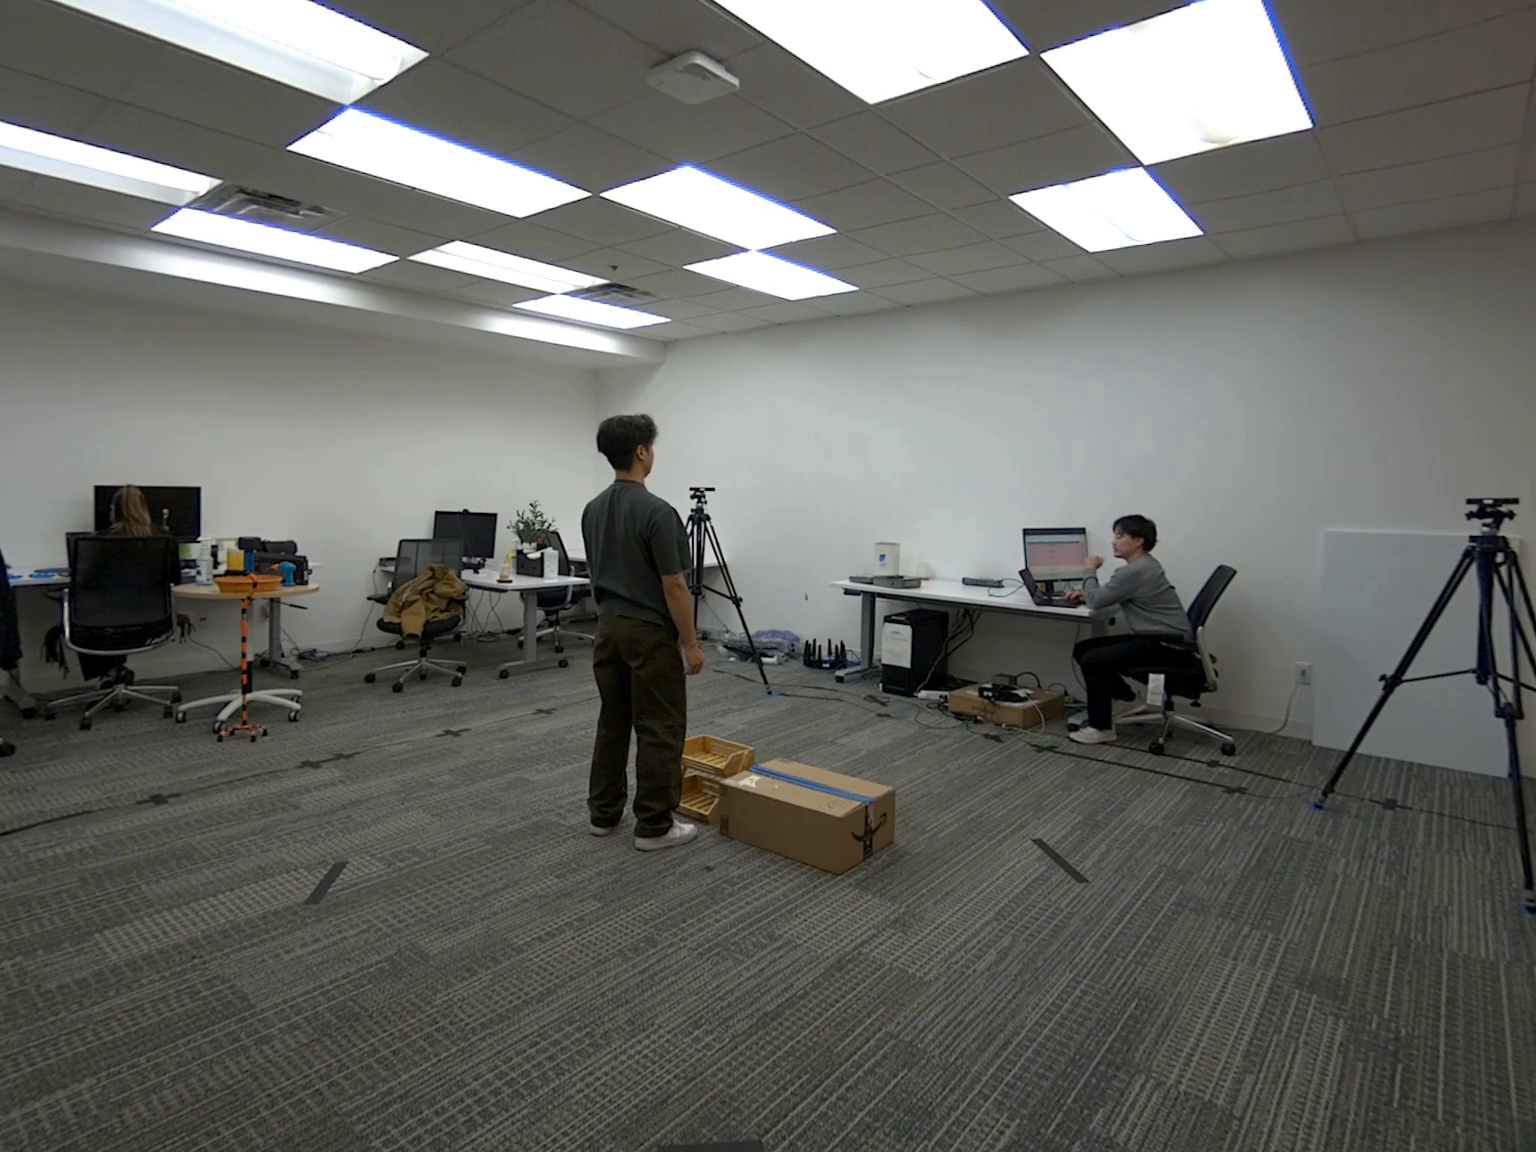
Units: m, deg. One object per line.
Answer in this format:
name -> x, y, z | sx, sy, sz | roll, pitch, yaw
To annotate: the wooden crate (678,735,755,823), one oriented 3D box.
wooden crate -> -0.287, 0.868, 3.708 | 0.335, 0.272, 0.293 | 3, 5, 40
